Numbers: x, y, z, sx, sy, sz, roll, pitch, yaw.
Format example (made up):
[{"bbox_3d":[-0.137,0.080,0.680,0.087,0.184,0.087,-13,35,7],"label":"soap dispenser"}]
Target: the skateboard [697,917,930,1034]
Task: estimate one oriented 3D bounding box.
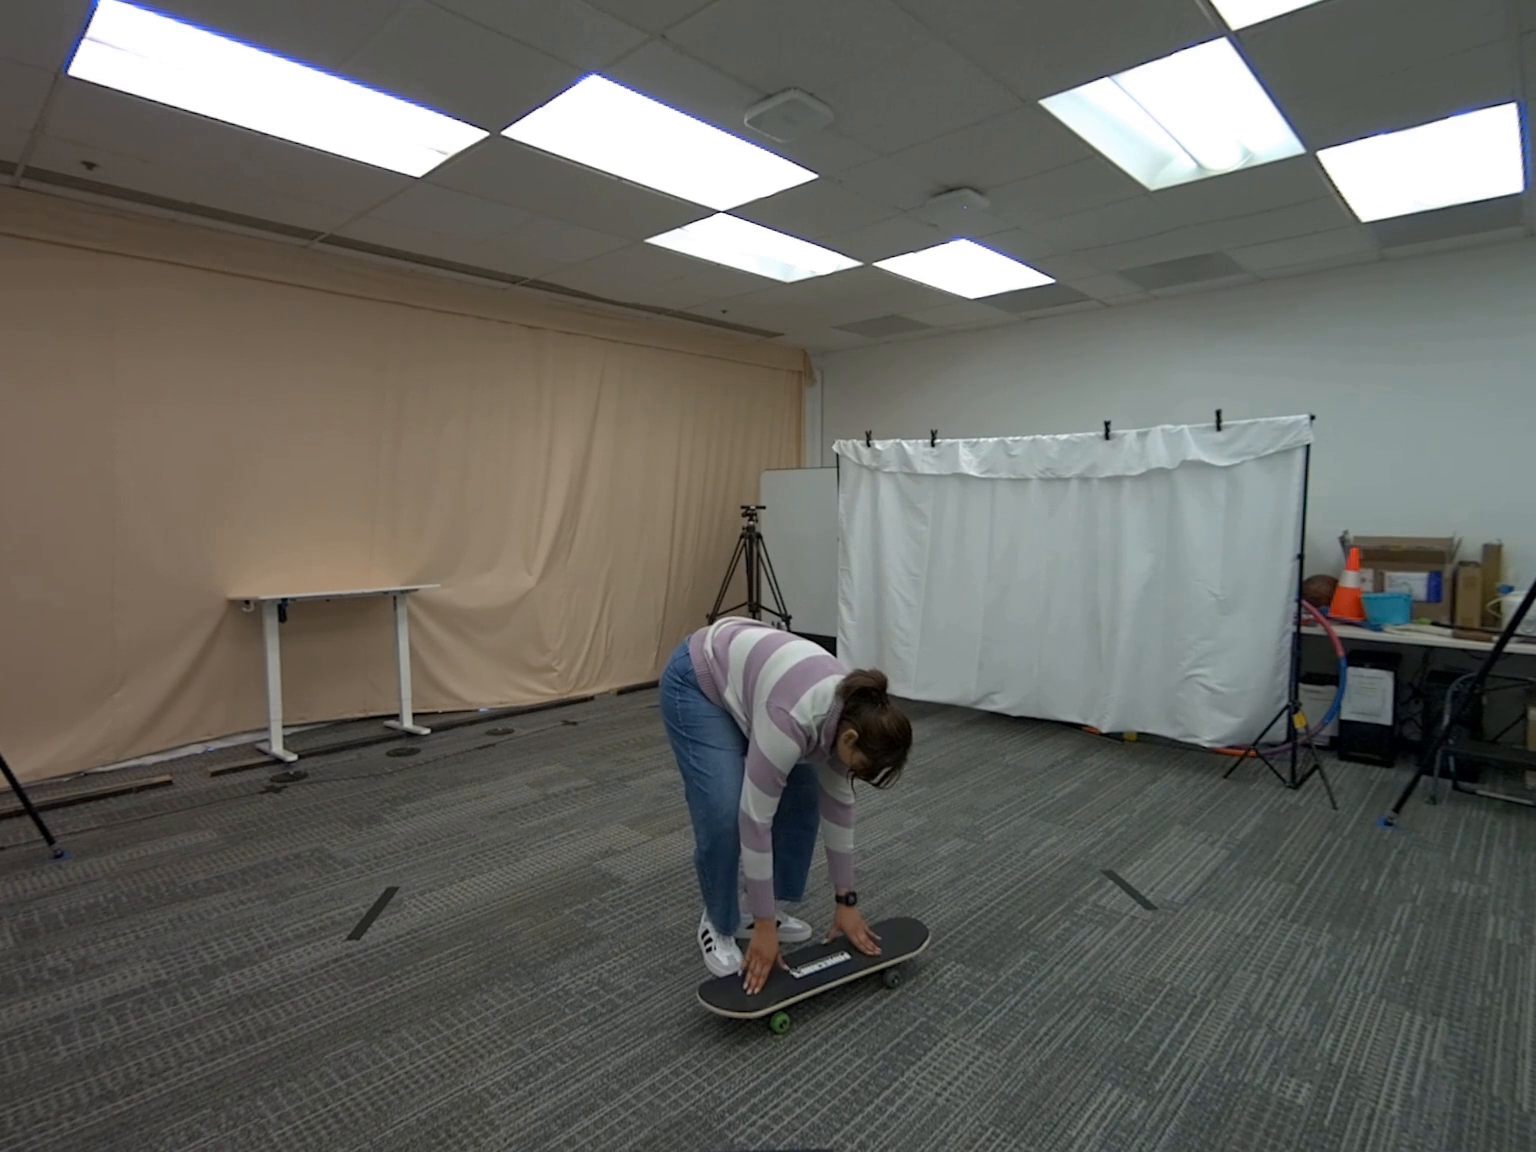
[{"bbox_3d":[0.162,1.137,2.397,0.764,0.110,0.199,-4,5,-32],"label":"skateboard"}]
